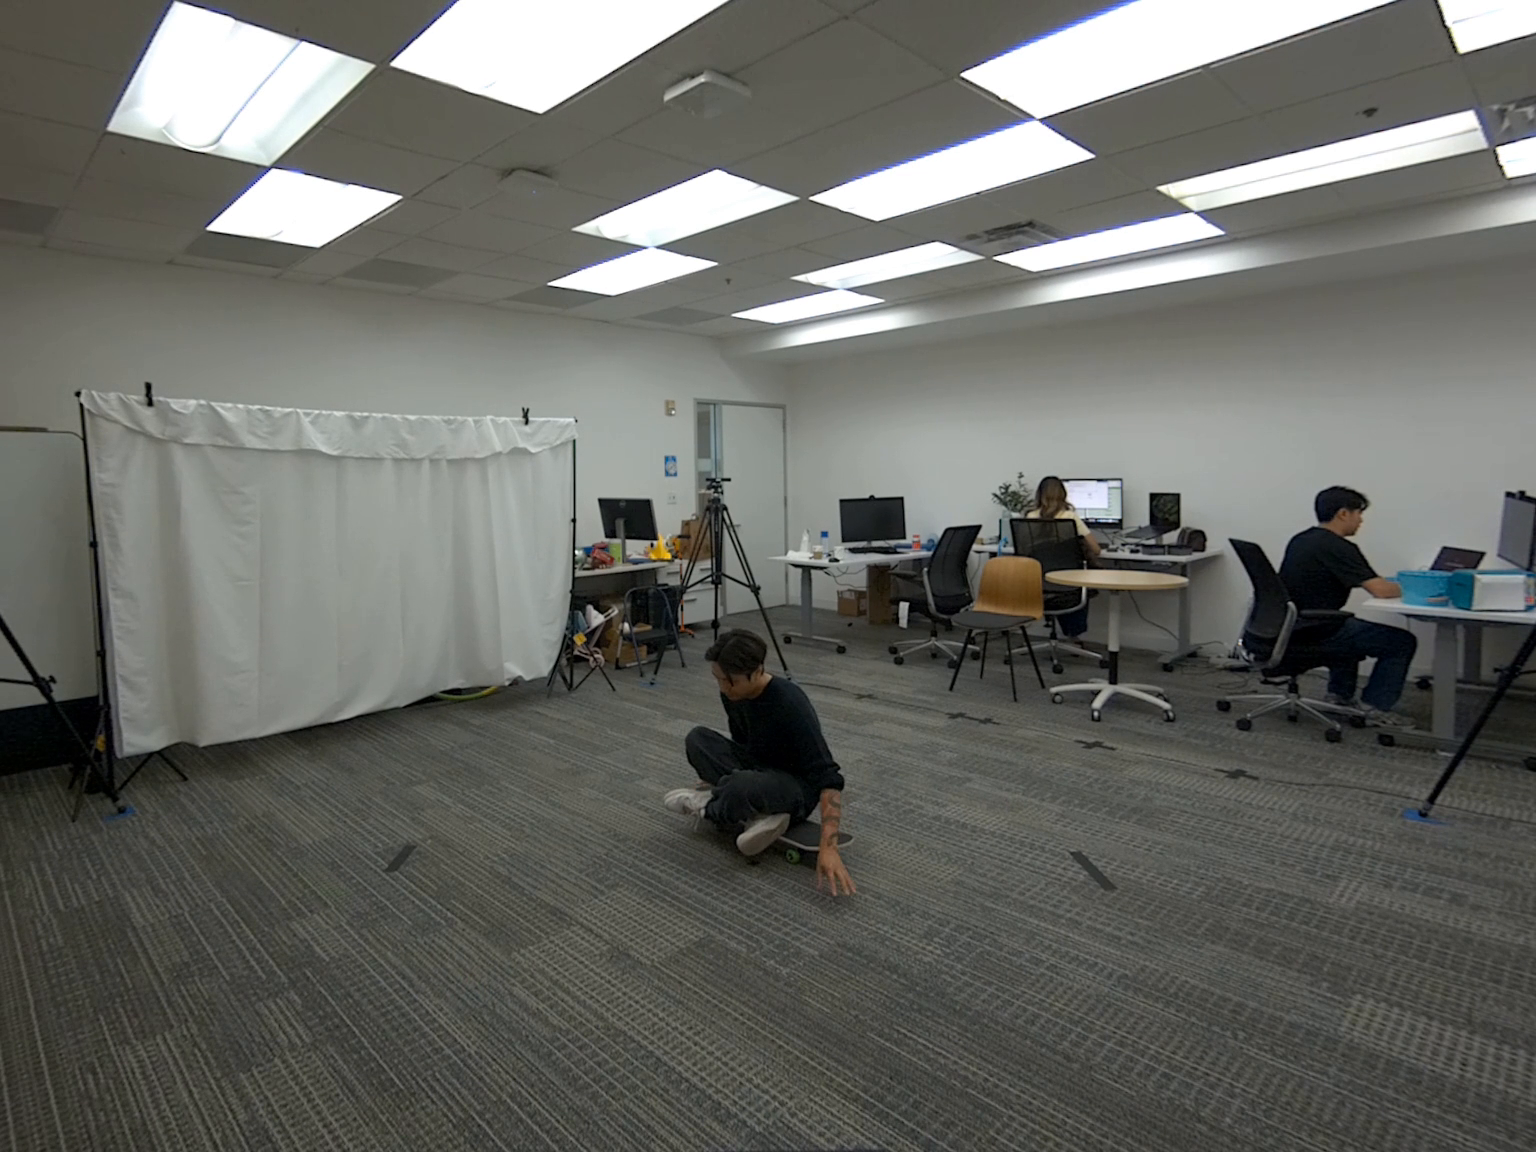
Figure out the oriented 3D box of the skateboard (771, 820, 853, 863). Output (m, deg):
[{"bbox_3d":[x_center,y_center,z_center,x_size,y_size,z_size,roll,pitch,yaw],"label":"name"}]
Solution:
[{"bbox_3d":[-0.009,0.971,3.294,0.810,0.110,0.188,5,9,41],"label":"skateboard"}]
